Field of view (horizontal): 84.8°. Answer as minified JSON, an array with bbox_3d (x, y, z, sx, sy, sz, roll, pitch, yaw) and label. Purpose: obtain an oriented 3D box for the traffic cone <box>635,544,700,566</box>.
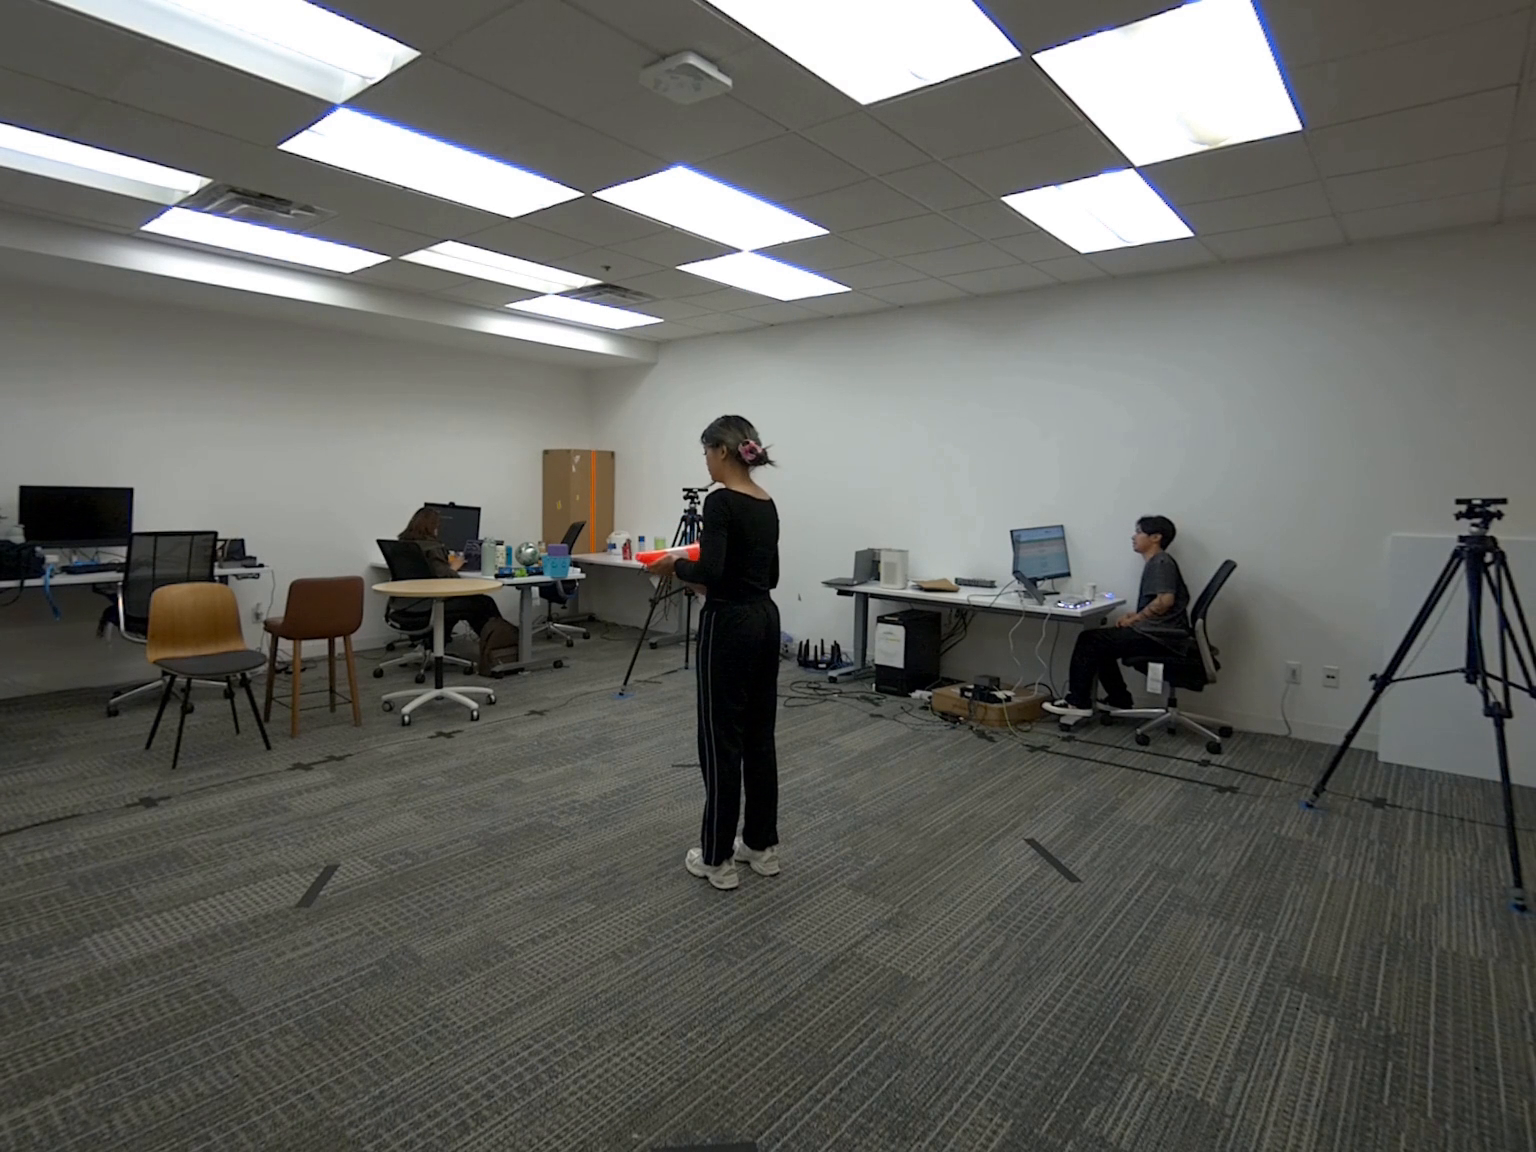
[{"bbox_3d":[-0.346,-0.061,3.095,0.206,0.209,0.371,-40,-25,30],"label":"traffic cone"}]
